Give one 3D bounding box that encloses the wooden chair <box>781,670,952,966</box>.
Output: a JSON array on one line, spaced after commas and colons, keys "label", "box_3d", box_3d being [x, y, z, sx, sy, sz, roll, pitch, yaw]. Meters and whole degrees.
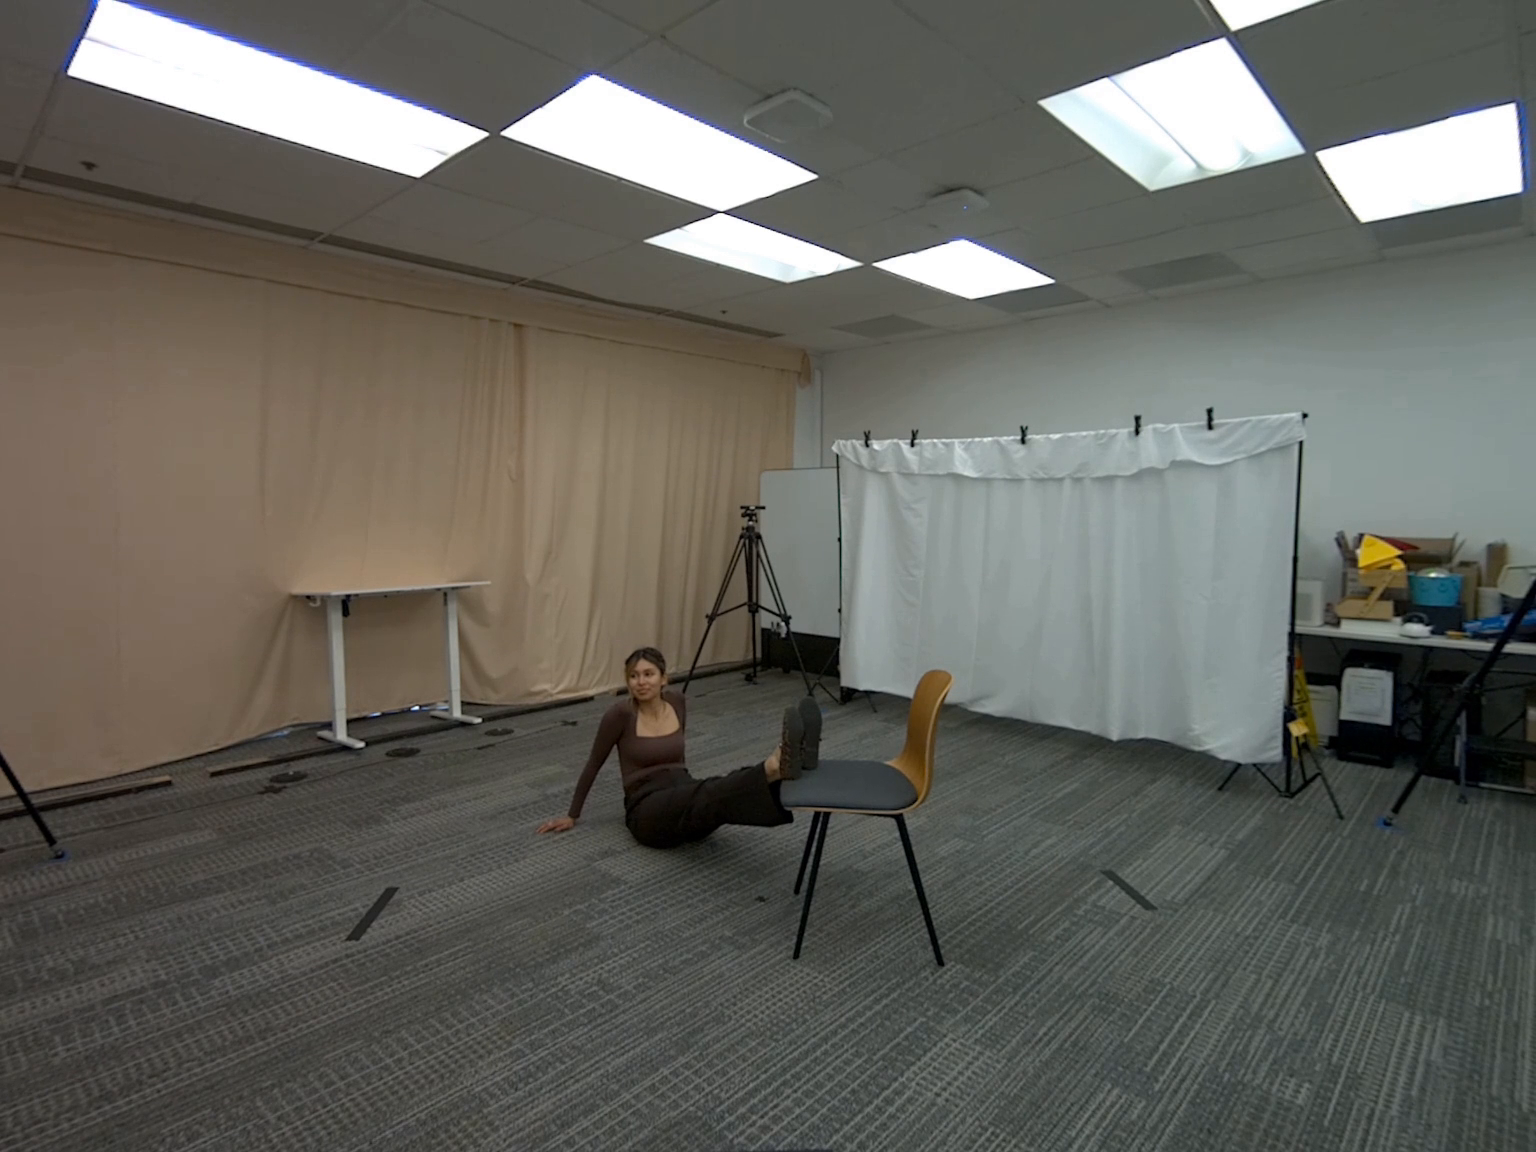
[{"label": "wooden chair", "box_3d": [0.312, 0.736, 2.754, 0.526, 0.875, 0.476, 4, 4, 4]}]
